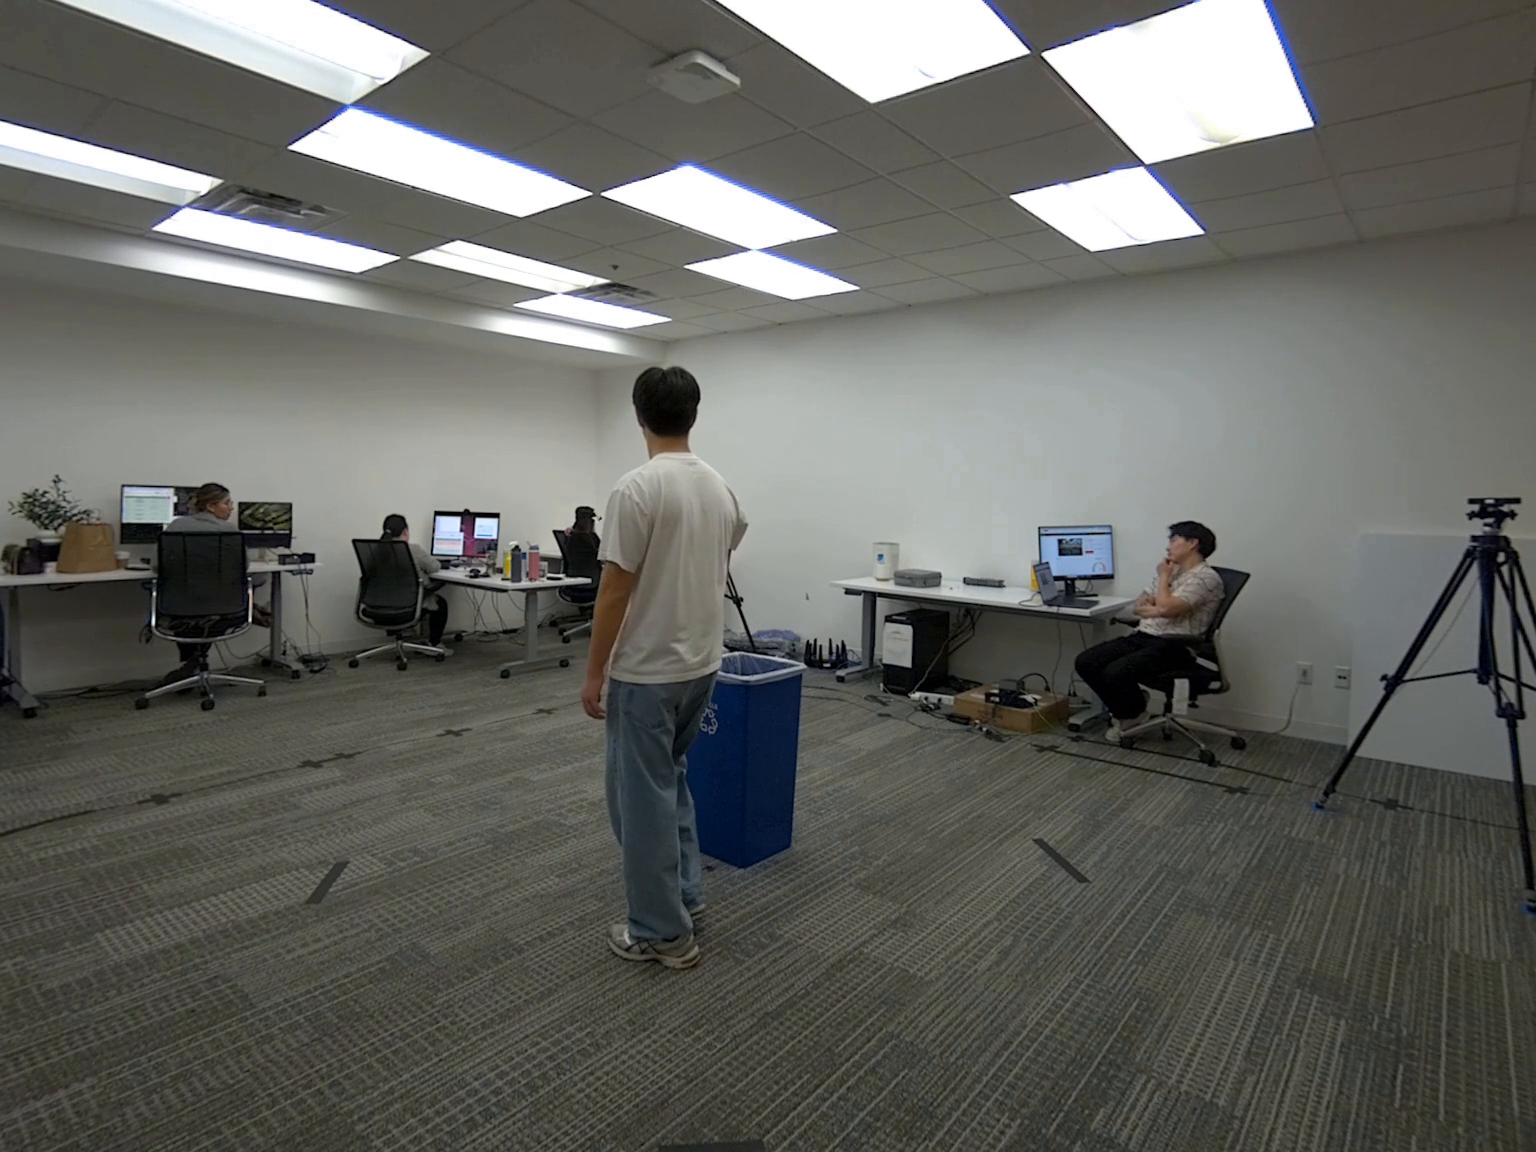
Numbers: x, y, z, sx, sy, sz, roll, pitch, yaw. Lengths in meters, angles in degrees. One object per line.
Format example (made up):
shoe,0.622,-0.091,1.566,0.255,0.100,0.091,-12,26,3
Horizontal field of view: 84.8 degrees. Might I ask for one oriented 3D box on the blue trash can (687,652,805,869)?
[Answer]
blue trash can,-0.105,0.691,3.294,0.386,0.711,0.367,4,4,40
